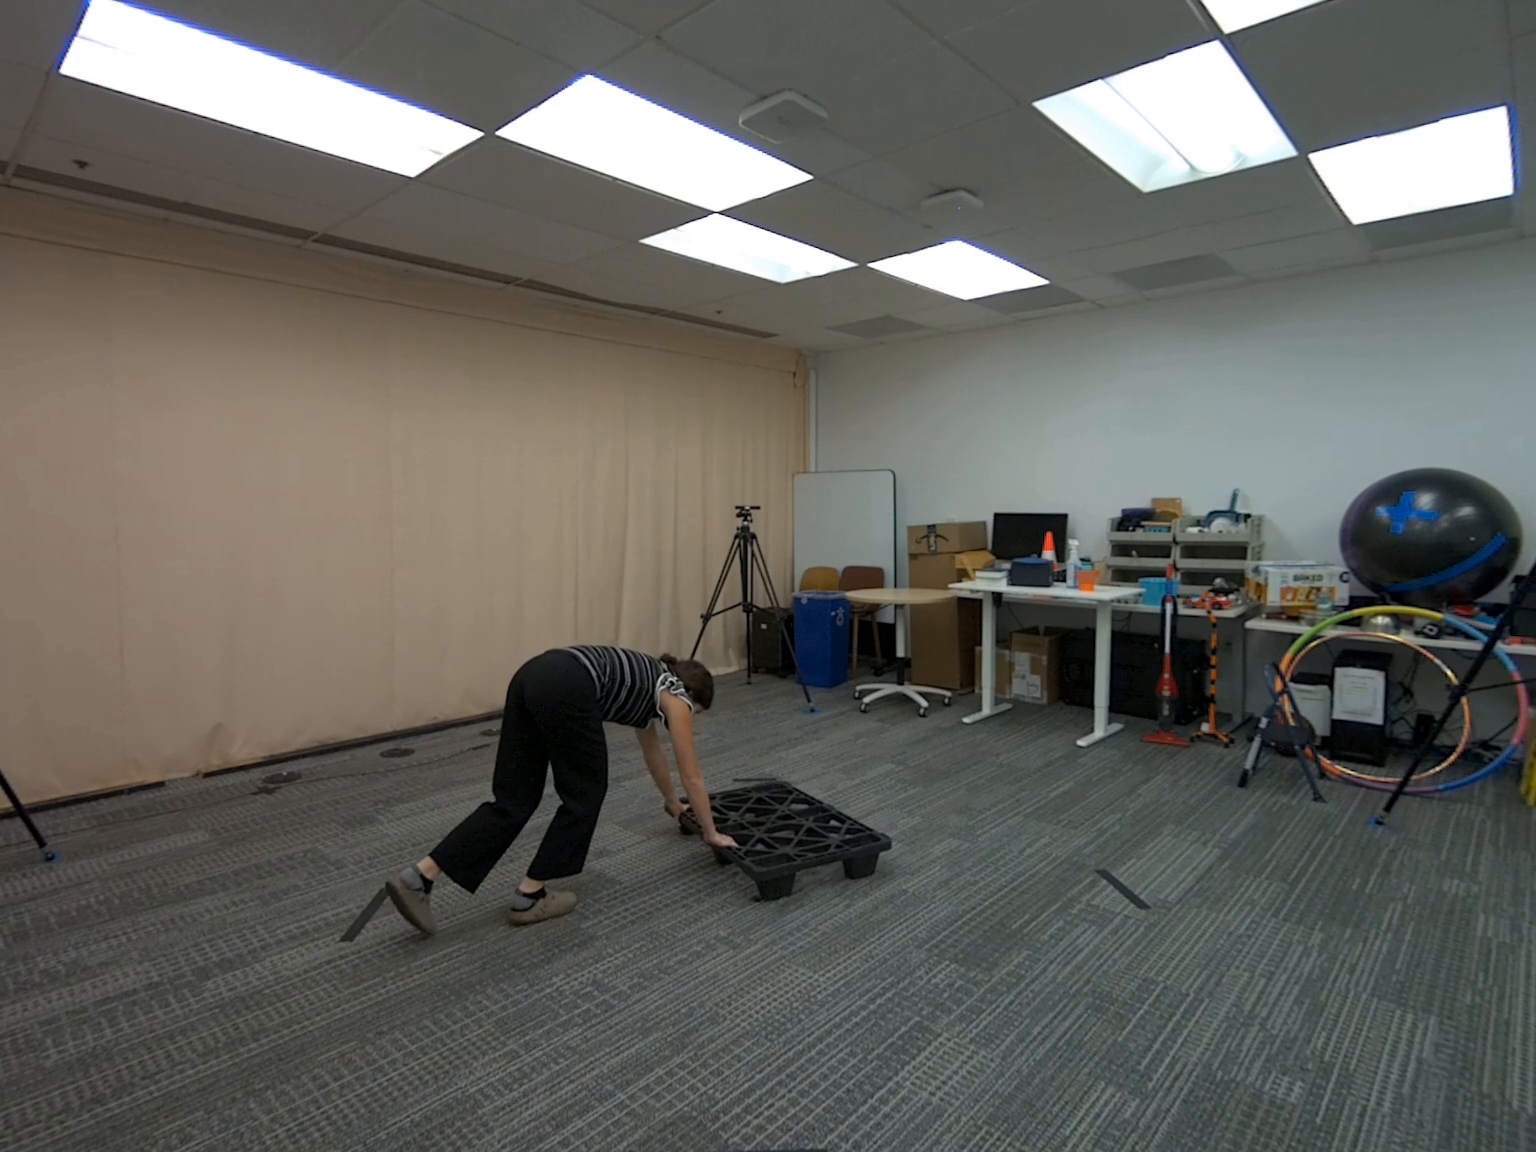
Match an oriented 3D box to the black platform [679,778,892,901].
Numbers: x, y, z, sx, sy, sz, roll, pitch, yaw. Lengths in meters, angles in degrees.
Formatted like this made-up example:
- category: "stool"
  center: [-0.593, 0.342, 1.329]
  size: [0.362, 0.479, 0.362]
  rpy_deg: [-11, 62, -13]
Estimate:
- category: "black platform"
  center: [0.013, 1.042, 3.384]
  size: [0.589, 0.143, 0.829]
  rpy_deg: [-2, 5, -29]
